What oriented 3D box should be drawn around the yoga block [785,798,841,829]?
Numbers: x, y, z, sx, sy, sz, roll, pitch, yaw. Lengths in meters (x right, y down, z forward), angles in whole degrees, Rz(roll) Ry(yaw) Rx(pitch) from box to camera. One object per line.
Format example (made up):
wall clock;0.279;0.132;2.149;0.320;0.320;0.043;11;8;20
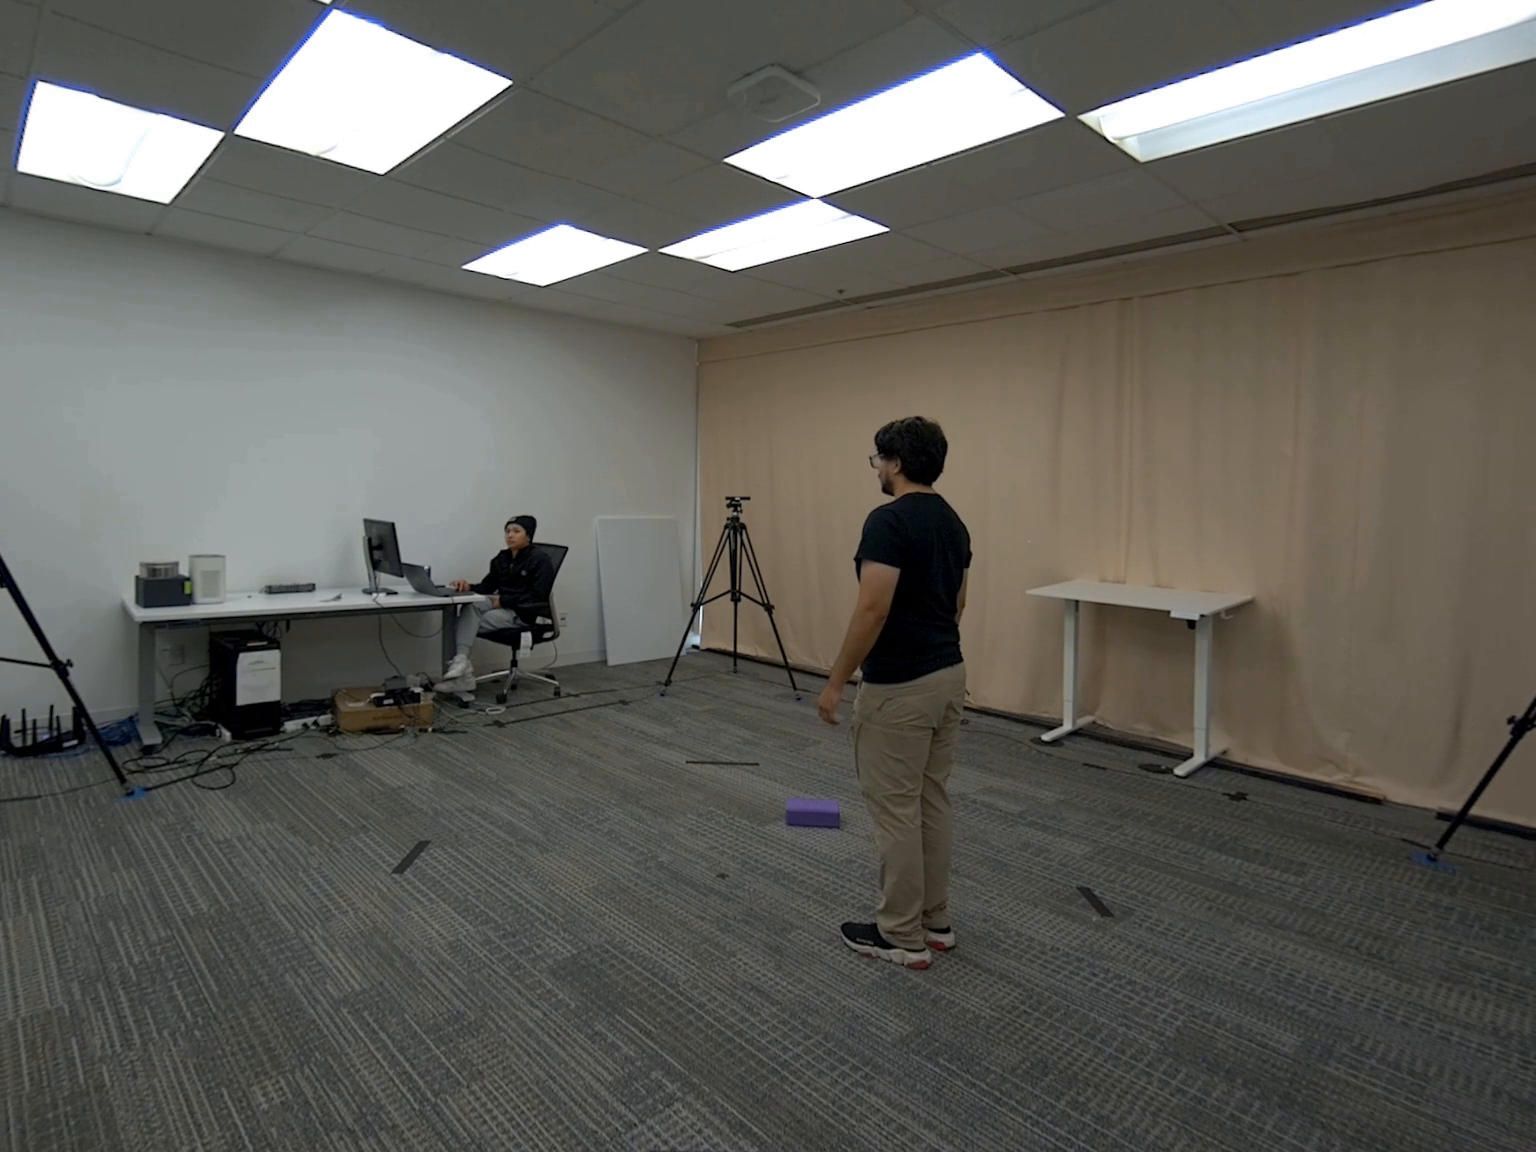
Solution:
yoga block;0.181;1.024;3.661;0.230;0.076;0.149;2;9;4
